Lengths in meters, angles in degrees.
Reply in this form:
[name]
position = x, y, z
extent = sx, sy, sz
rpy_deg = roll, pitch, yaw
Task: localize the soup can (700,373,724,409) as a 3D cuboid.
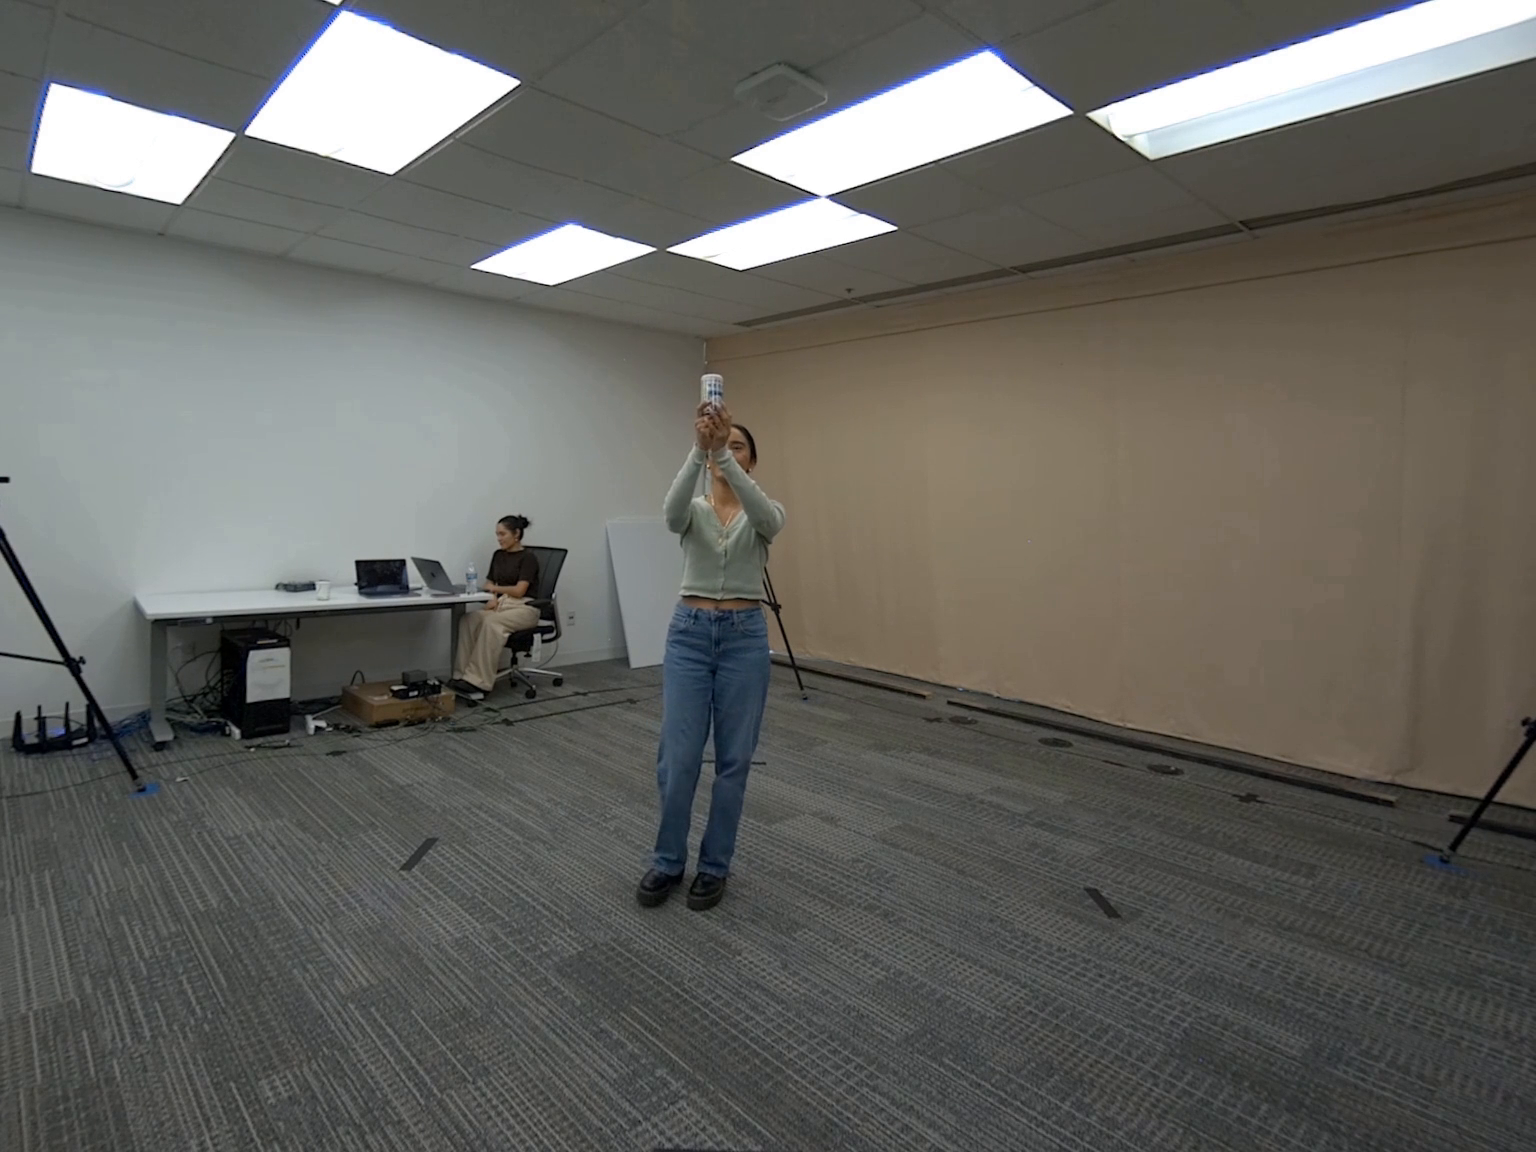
[soup can]
position = -0.171, -0.548, 2.568
extent = 0.067, 0.122, 0.067
rpy_deg = 1, -4, -1
